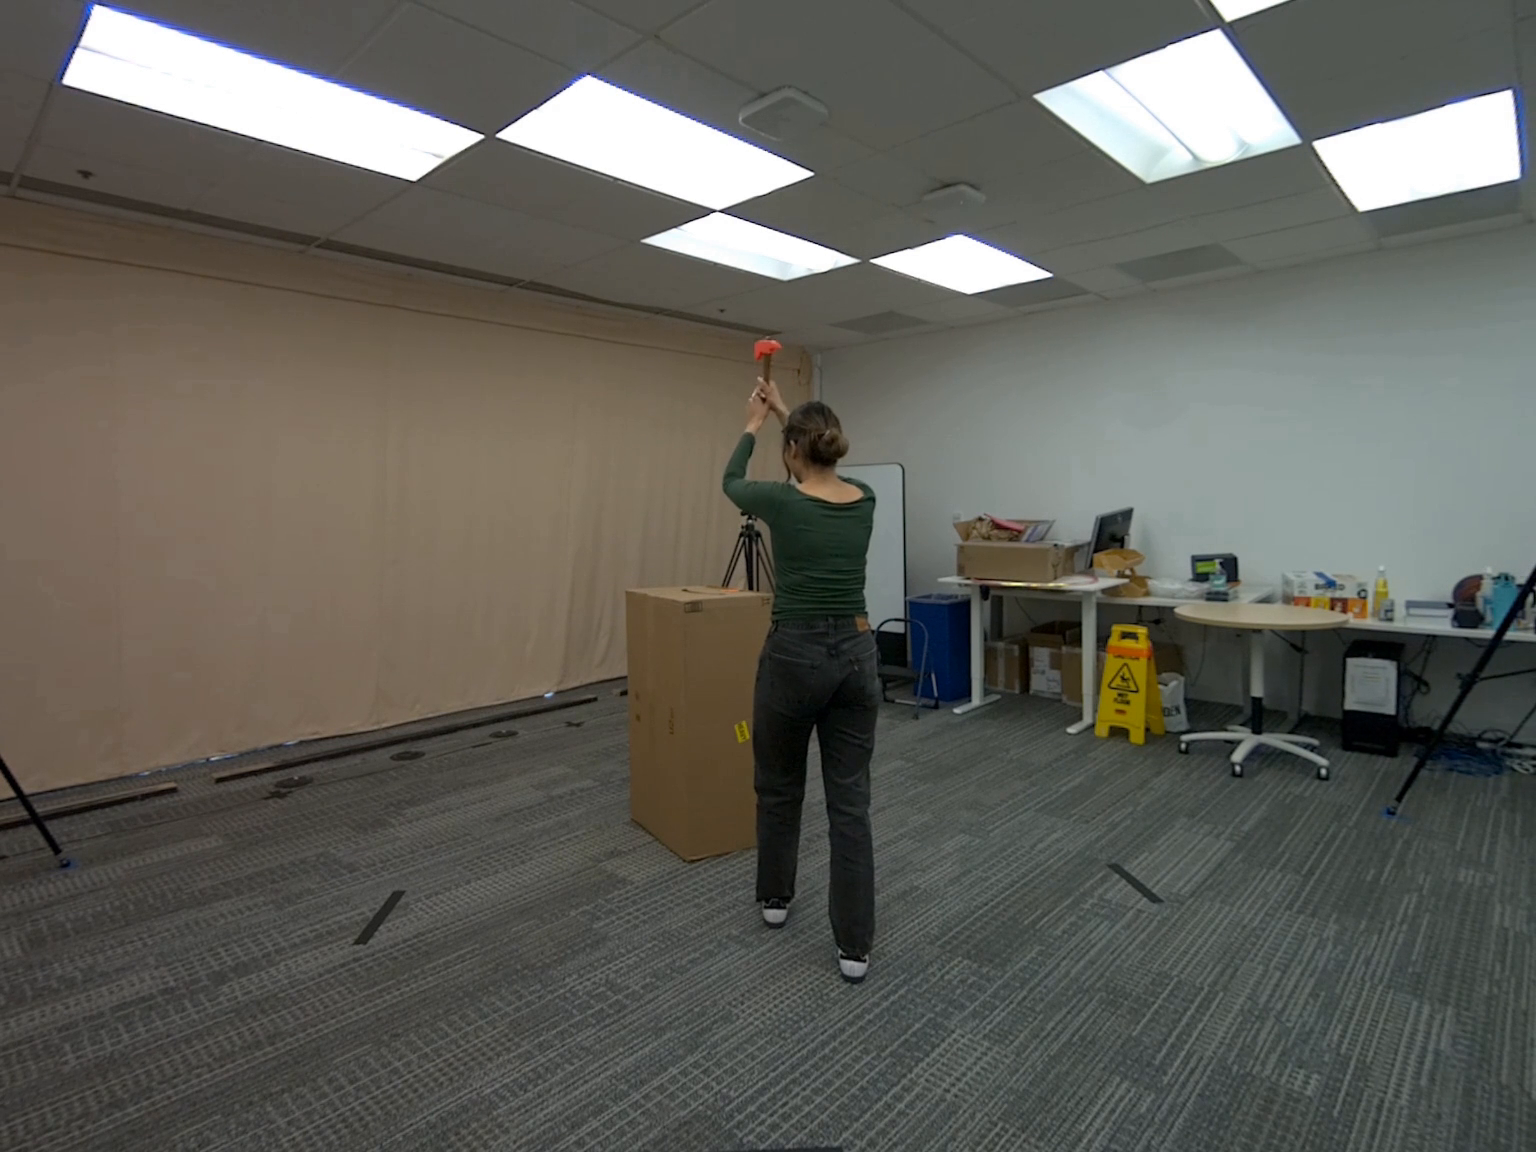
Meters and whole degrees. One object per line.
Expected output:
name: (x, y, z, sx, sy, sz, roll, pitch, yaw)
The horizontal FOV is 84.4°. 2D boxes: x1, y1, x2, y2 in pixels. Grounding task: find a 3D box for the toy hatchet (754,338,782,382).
toy hatchet: (-0.028, -0.663, 2.869, 0.029, 0.268, 0.136, -10, 37, -40)
